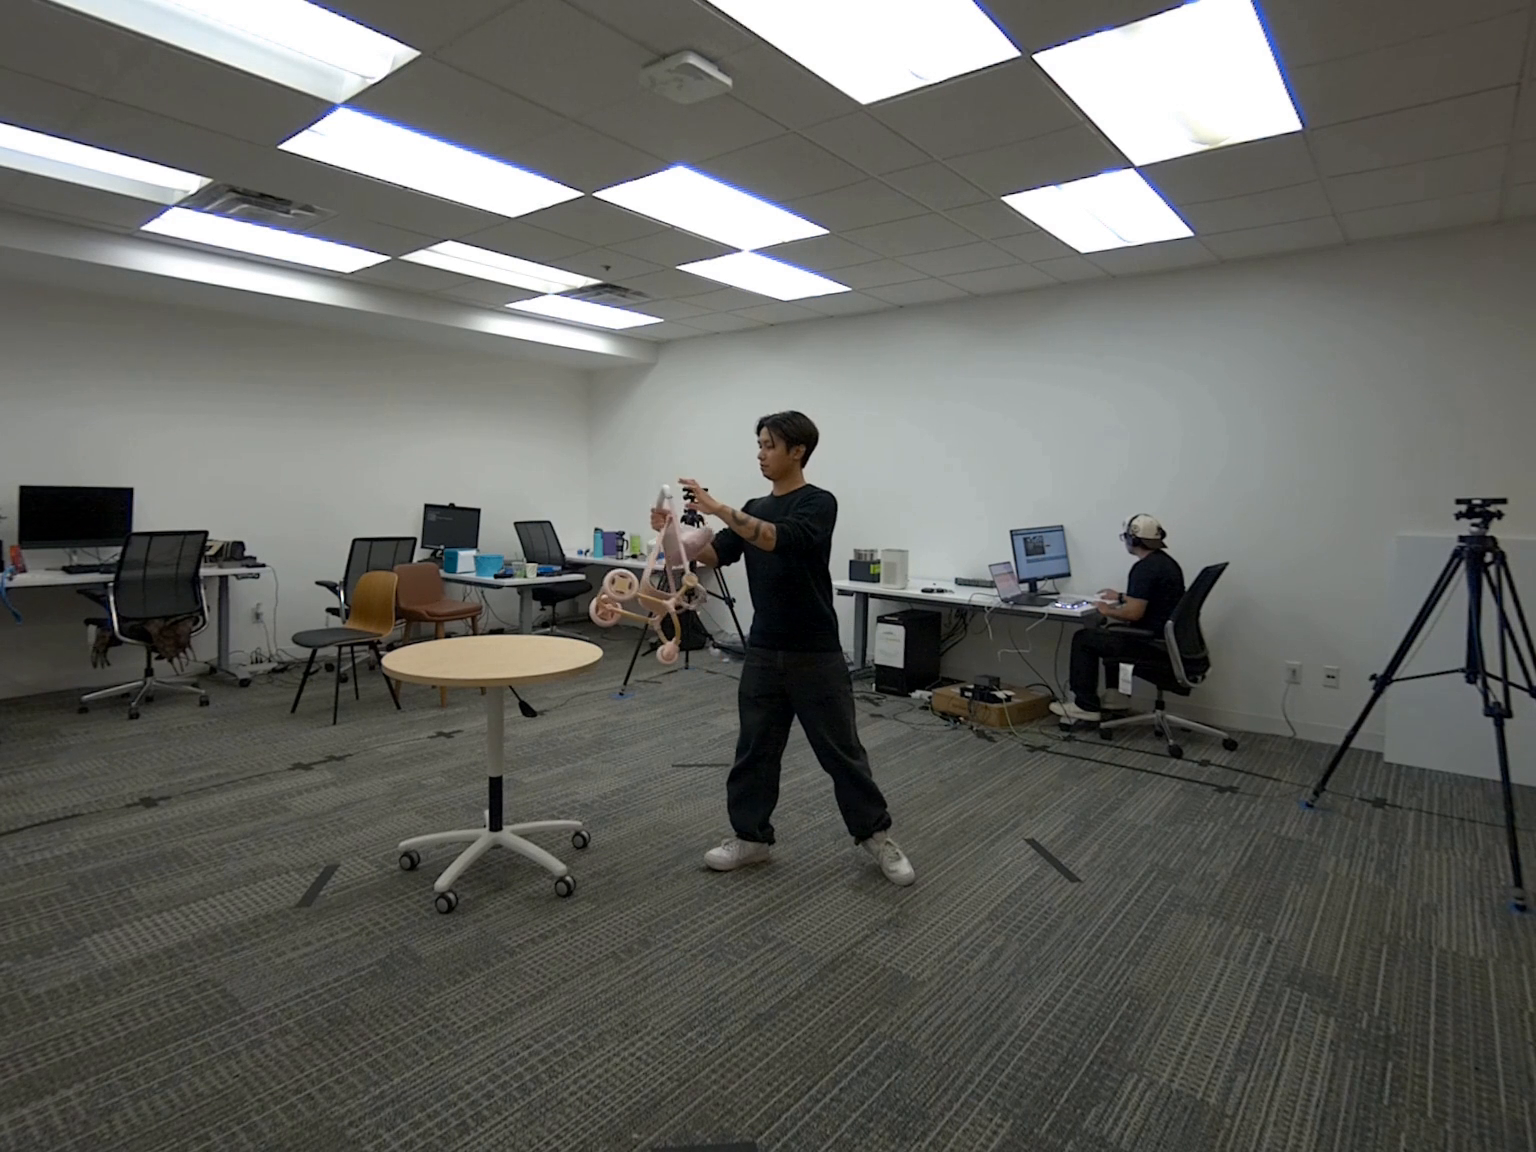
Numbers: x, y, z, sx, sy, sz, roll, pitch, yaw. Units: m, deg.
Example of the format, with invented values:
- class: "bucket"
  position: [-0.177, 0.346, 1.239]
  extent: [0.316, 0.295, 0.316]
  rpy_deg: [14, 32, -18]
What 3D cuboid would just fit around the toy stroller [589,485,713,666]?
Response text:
- class: "toy stroller"
  position: [-0.344, 0.003, 2.815]
  extent: [0.341, 0.539, 0.280]
  rpy_deg: [29, -29, -2]
